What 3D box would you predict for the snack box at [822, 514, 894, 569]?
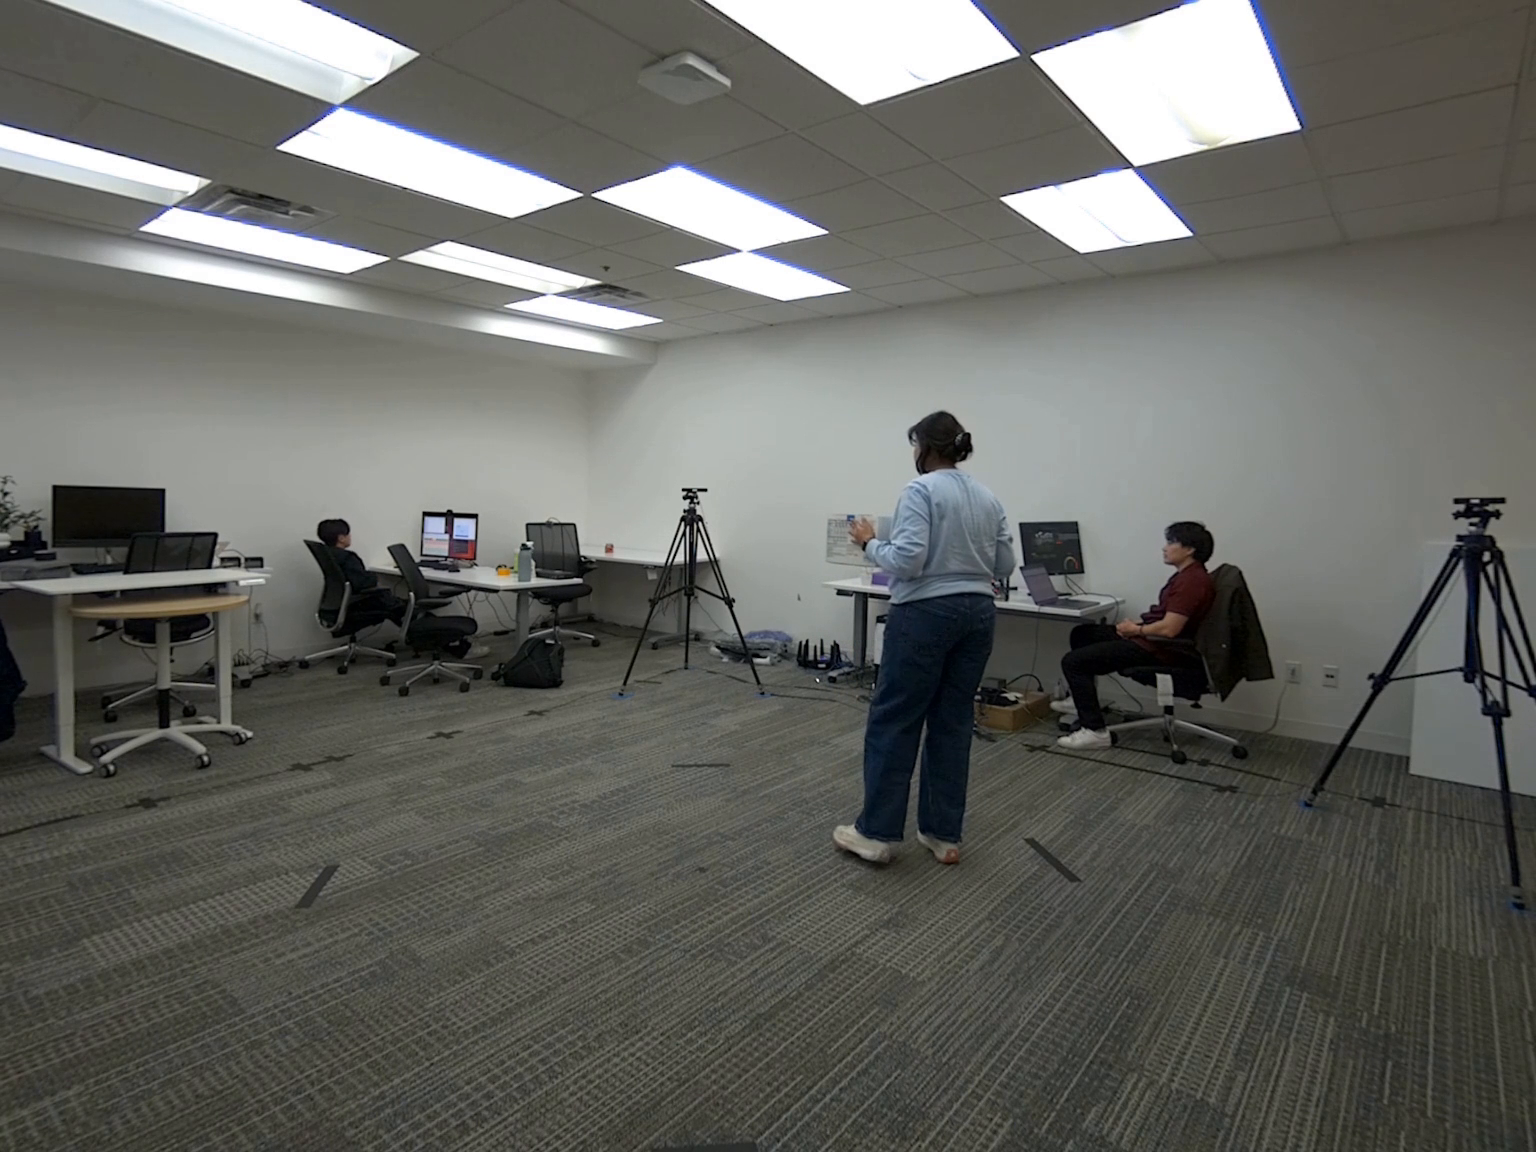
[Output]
[{"bbox_3d":[0.495,-0.148,3.524,0.394,0.205,0.350,0,3,-31],"label":"snack box"}]
